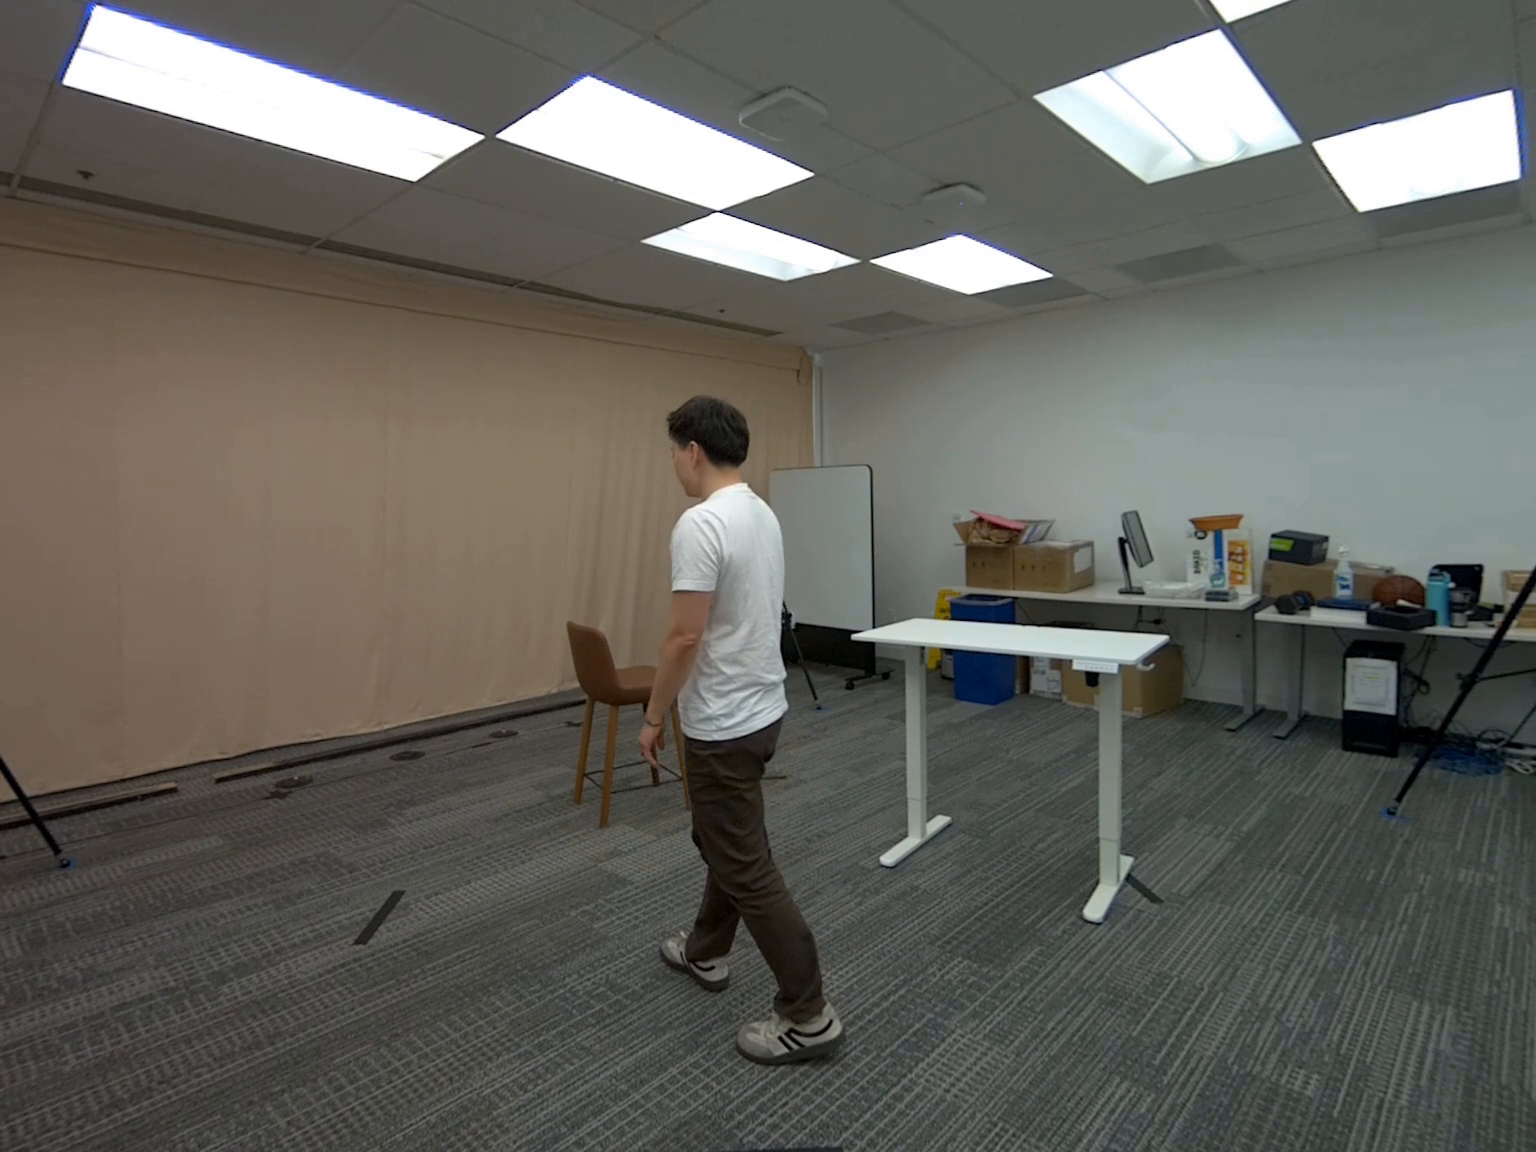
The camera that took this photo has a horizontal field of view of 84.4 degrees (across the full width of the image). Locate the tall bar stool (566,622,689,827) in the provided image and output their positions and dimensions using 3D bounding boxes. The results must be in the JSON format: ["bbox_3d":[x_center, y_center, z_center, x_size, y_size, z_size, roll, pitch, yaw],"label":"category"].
[{"bbox_3d":[-0.650,0.638,3.910,0.455,0.887,0.470,-5,5,-30],"label":"tall bar stool"}]
